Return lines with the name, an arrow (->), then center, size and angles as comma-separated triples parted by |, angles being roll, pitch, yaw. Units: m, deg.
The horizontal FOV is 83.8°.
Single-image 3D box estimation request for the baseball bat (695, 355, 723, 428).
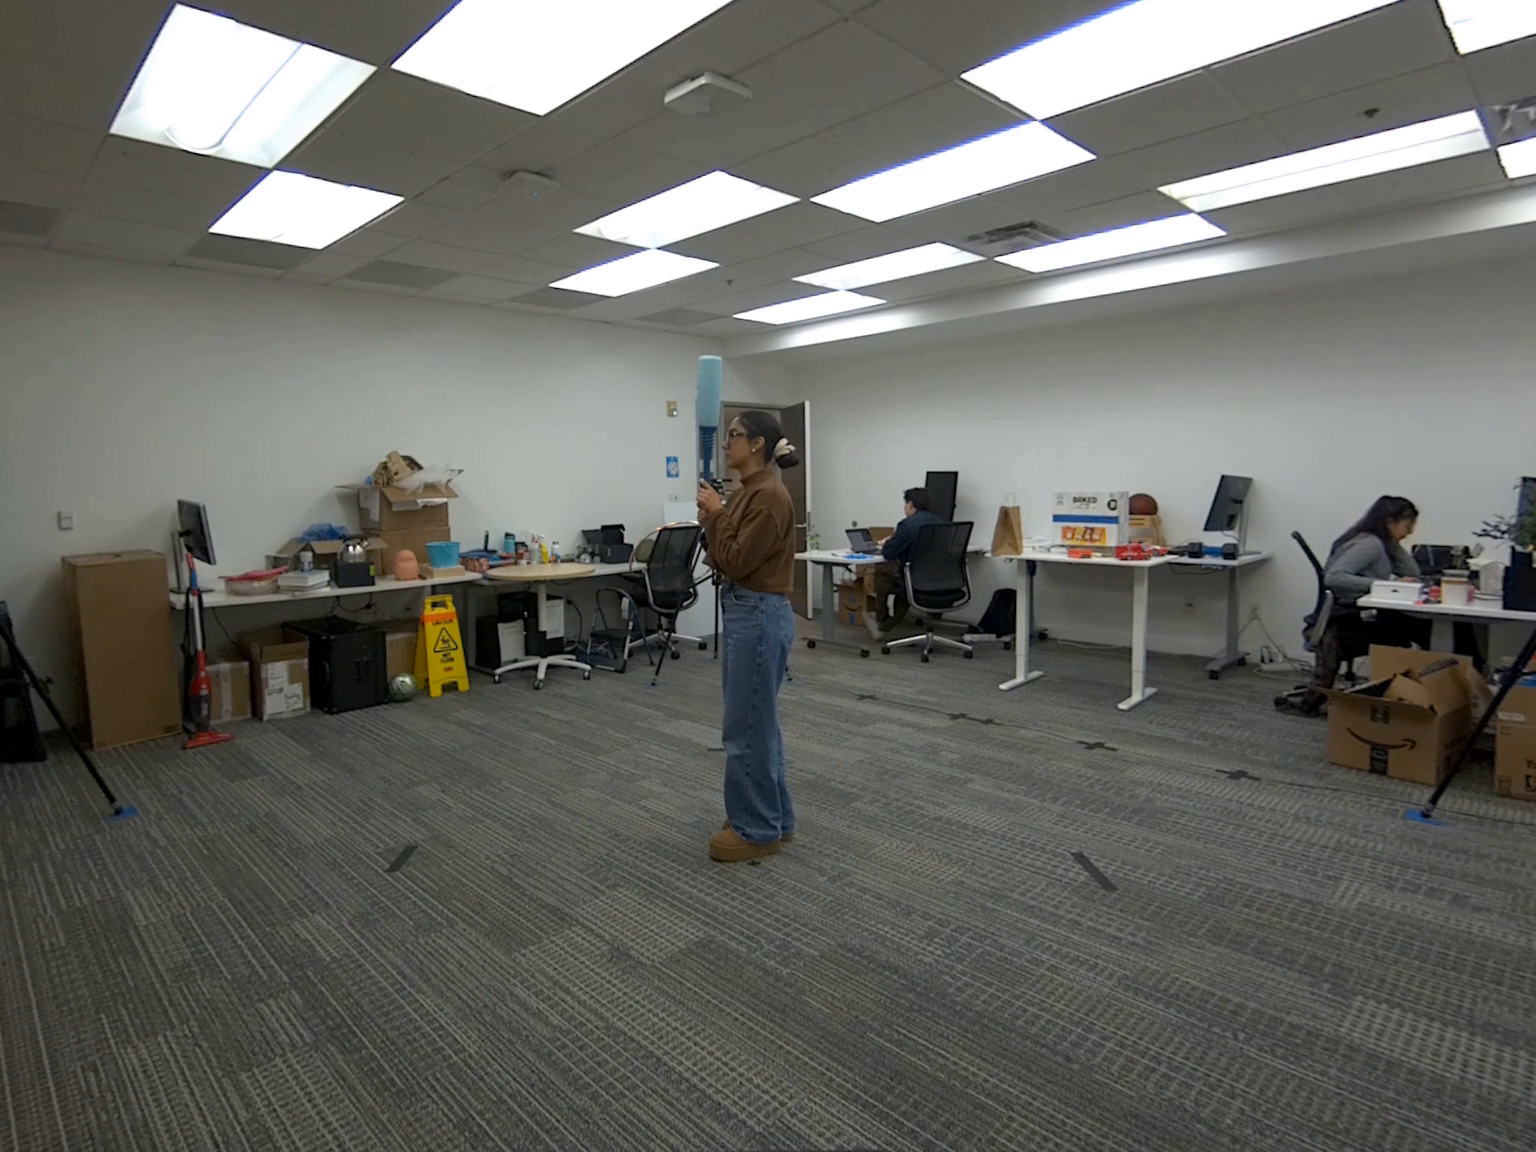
baseball bat -> -0.220, -0.534, 3.135 | 0.089, 0.537, 0.090 | 2, 13, -2
